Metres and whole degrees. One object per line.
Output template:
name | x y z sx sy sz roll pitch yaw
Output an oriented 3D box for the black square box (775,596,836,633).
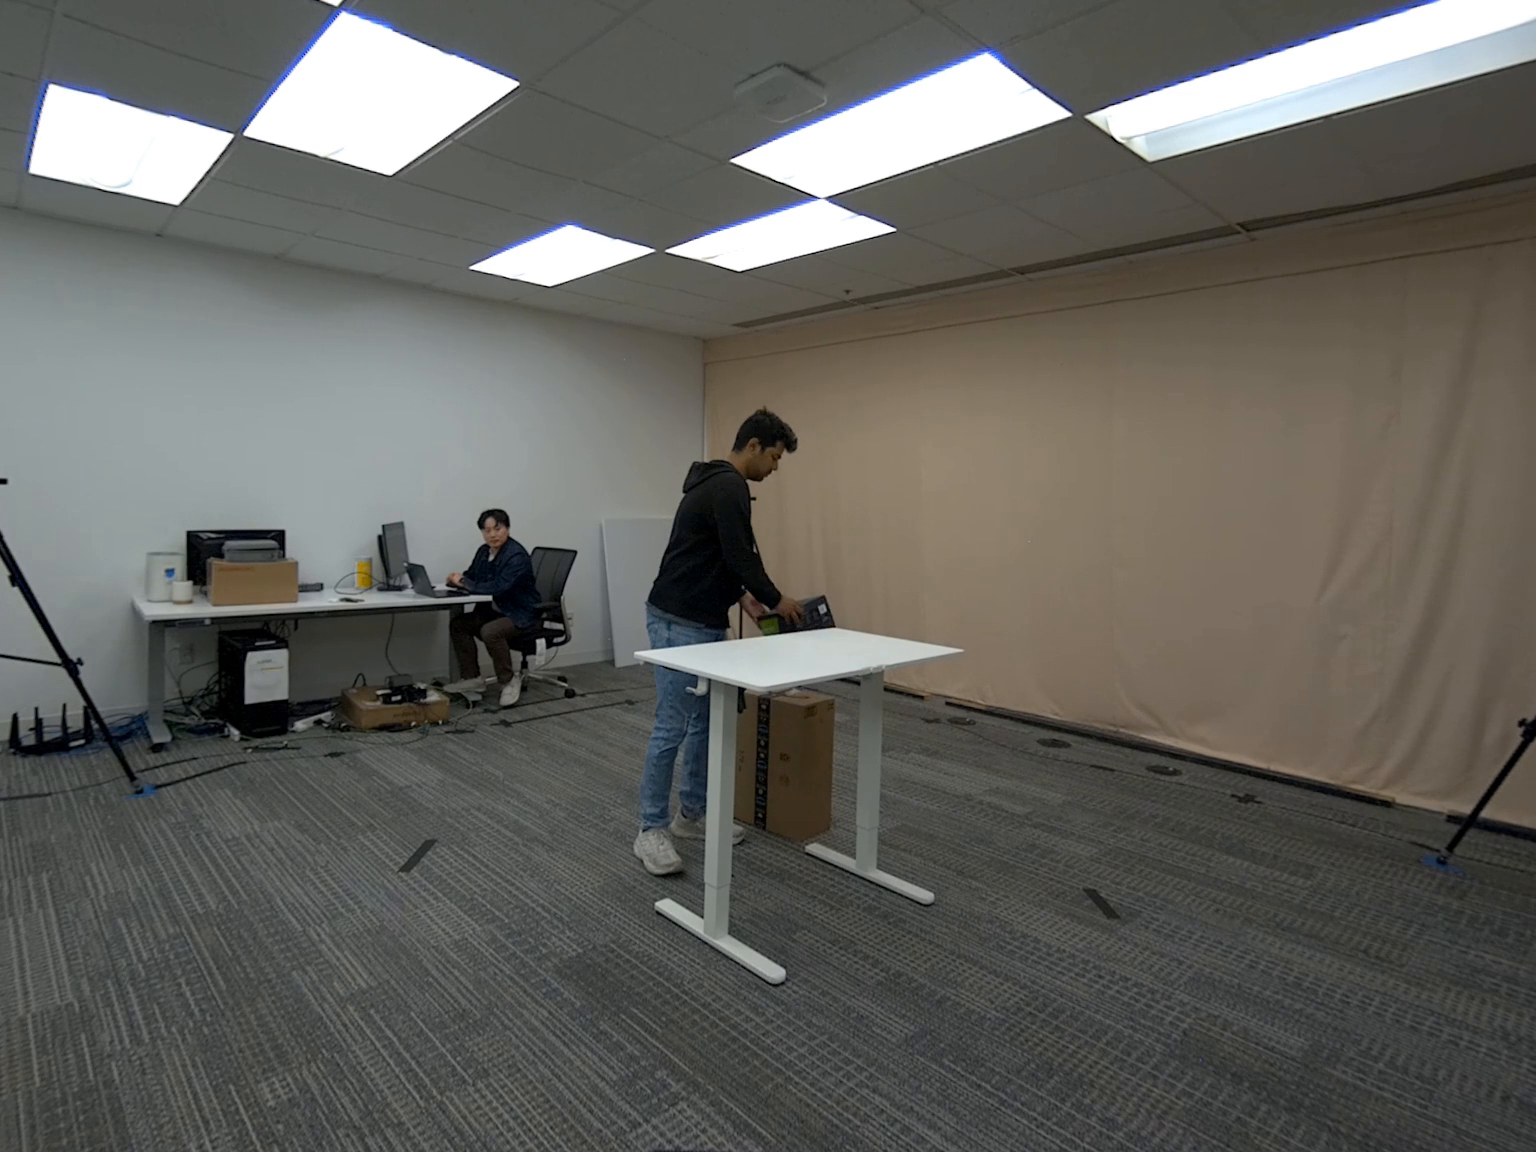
black square box | 0.119 0.205 3.605 0.214 0.155 0.232 -22 5 -41
